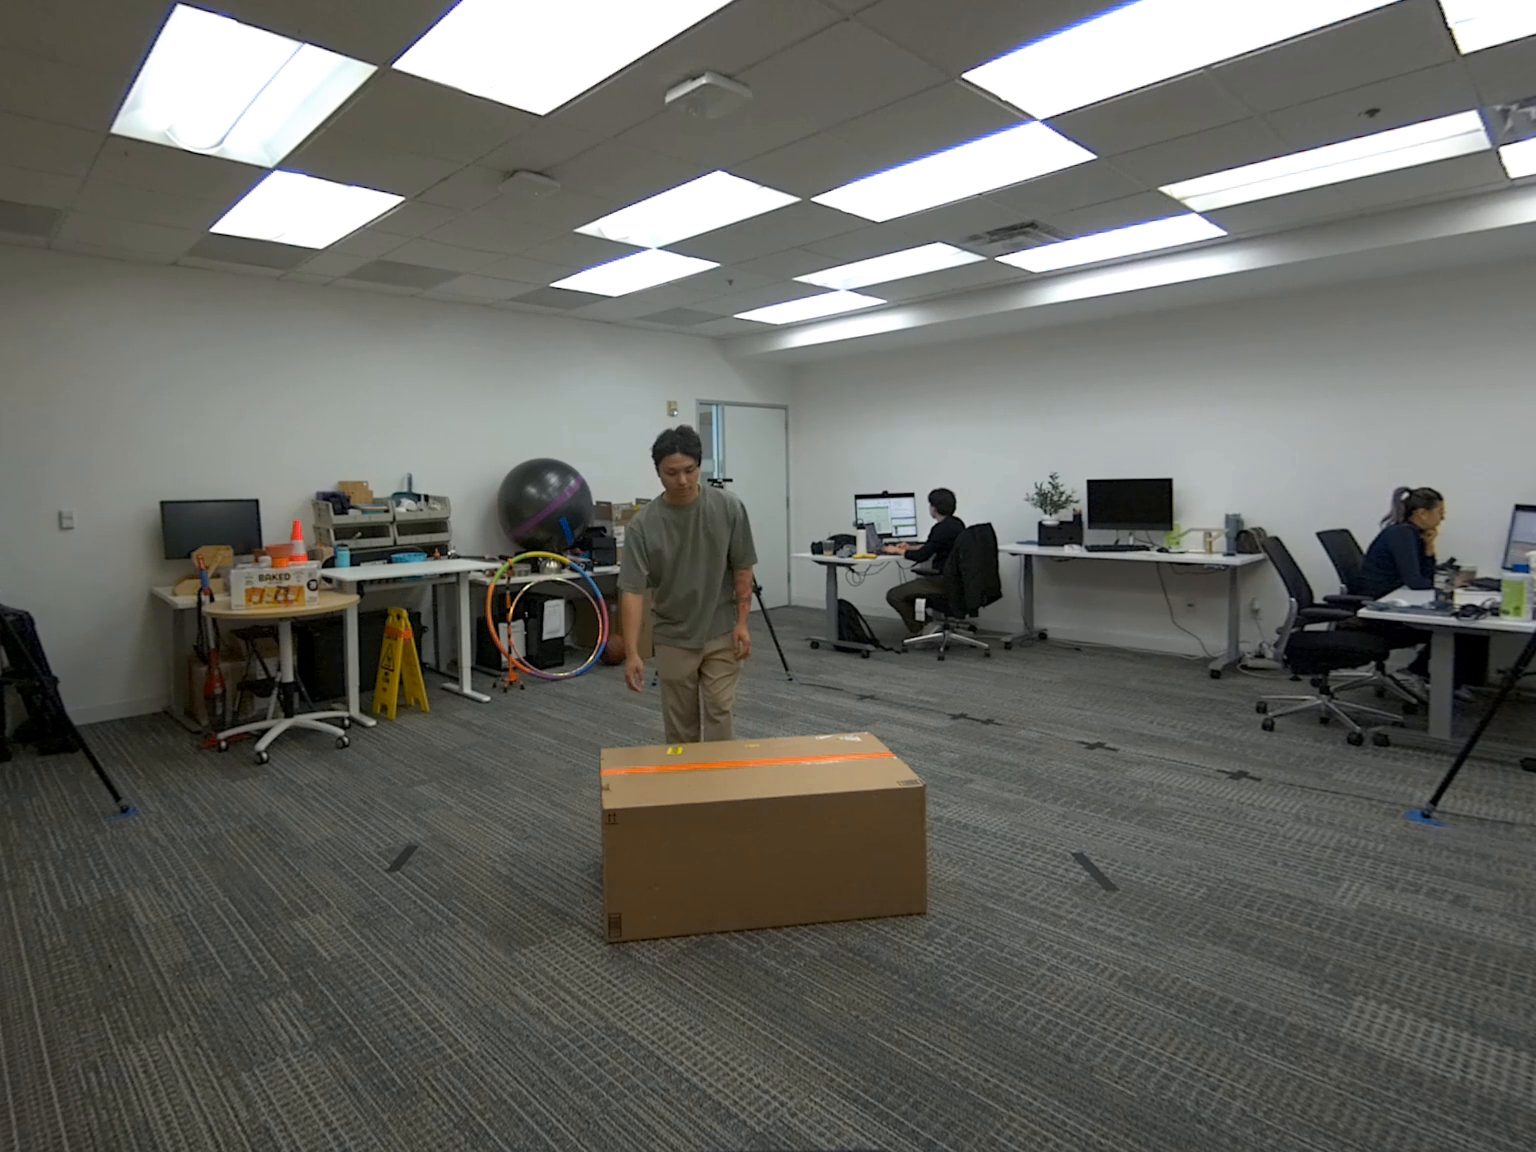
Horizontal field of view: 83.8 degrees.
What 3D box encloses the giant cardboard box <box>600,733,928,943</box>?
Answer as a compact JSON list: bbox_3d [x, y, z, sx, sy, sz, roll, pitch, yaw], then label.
[{"bbox_3d":[-0.051,0.847,2.915,1.017,0.425,0.585,-2,5,-9],"label":"giant cardboard box"}]
